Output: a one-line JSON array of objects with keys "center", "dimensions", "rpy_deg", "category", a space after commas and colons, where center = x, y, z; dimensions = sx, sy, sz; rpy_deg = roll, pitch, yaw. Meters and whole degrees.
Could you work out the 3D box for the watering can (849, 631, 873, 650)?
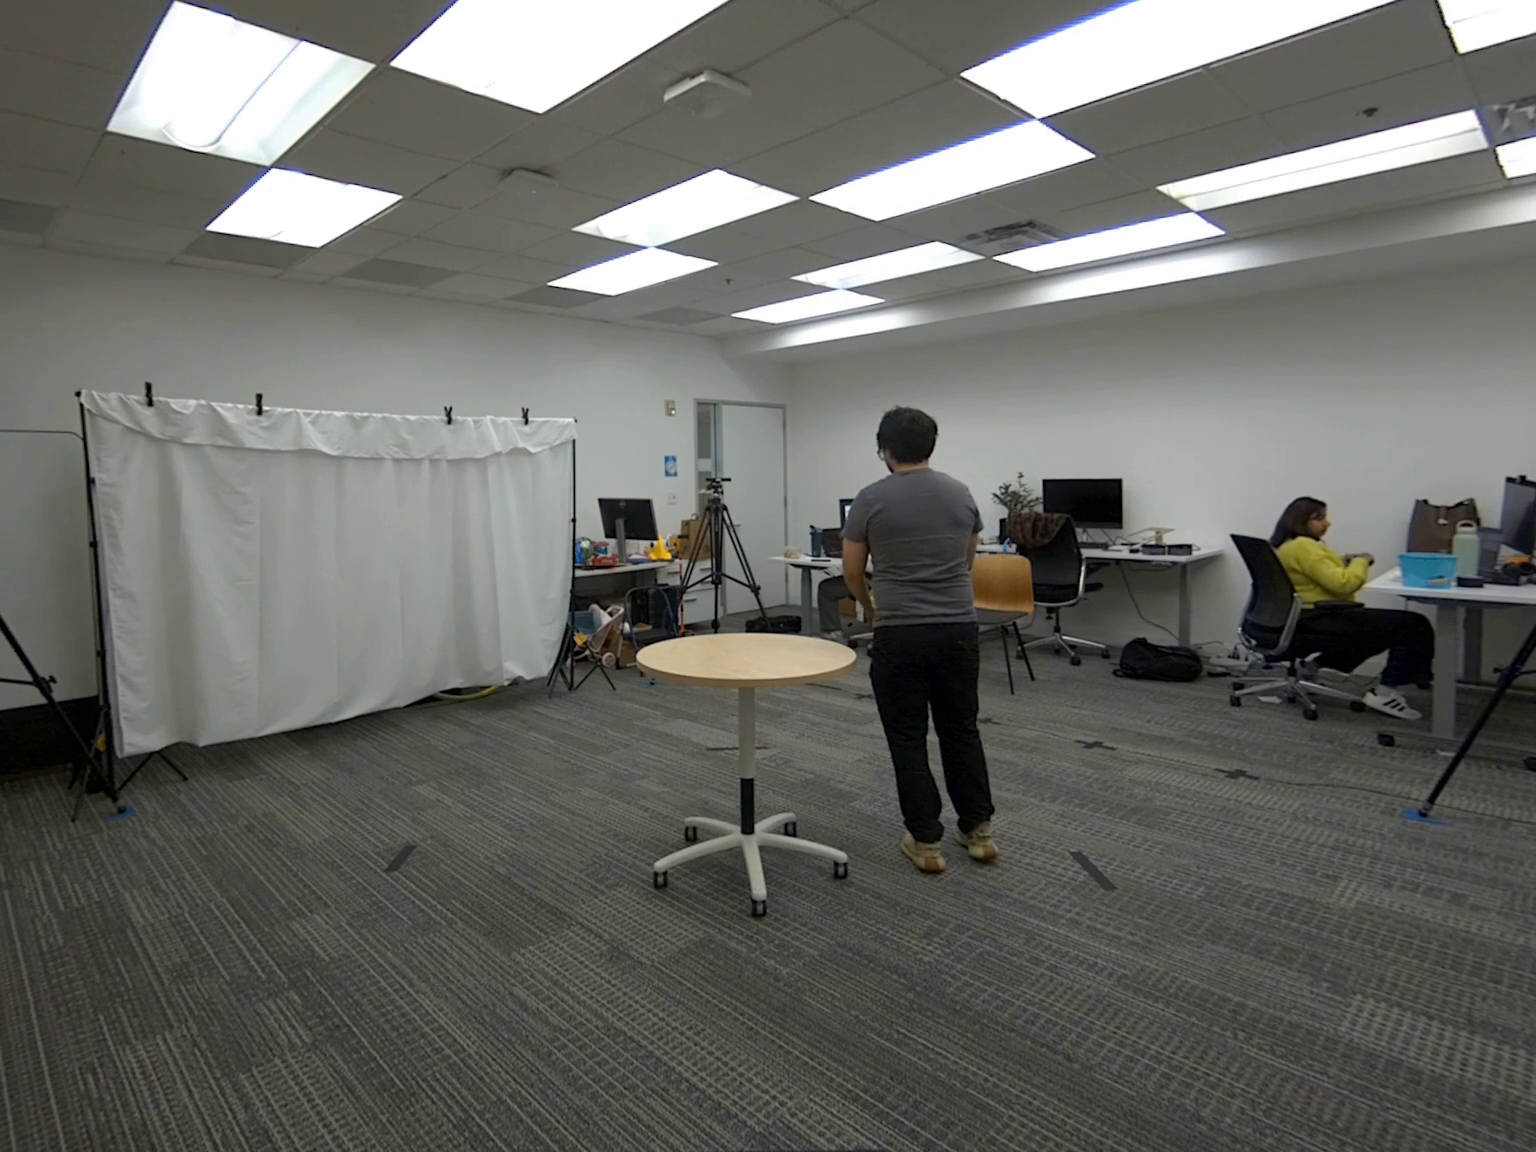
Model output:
[{"center": [0.480, 0.185, 3.469], "dimensions": [0.097, 0.273, 0.181], "rpy_deg": [-22, 17, -13], "category": "watering can"}]
